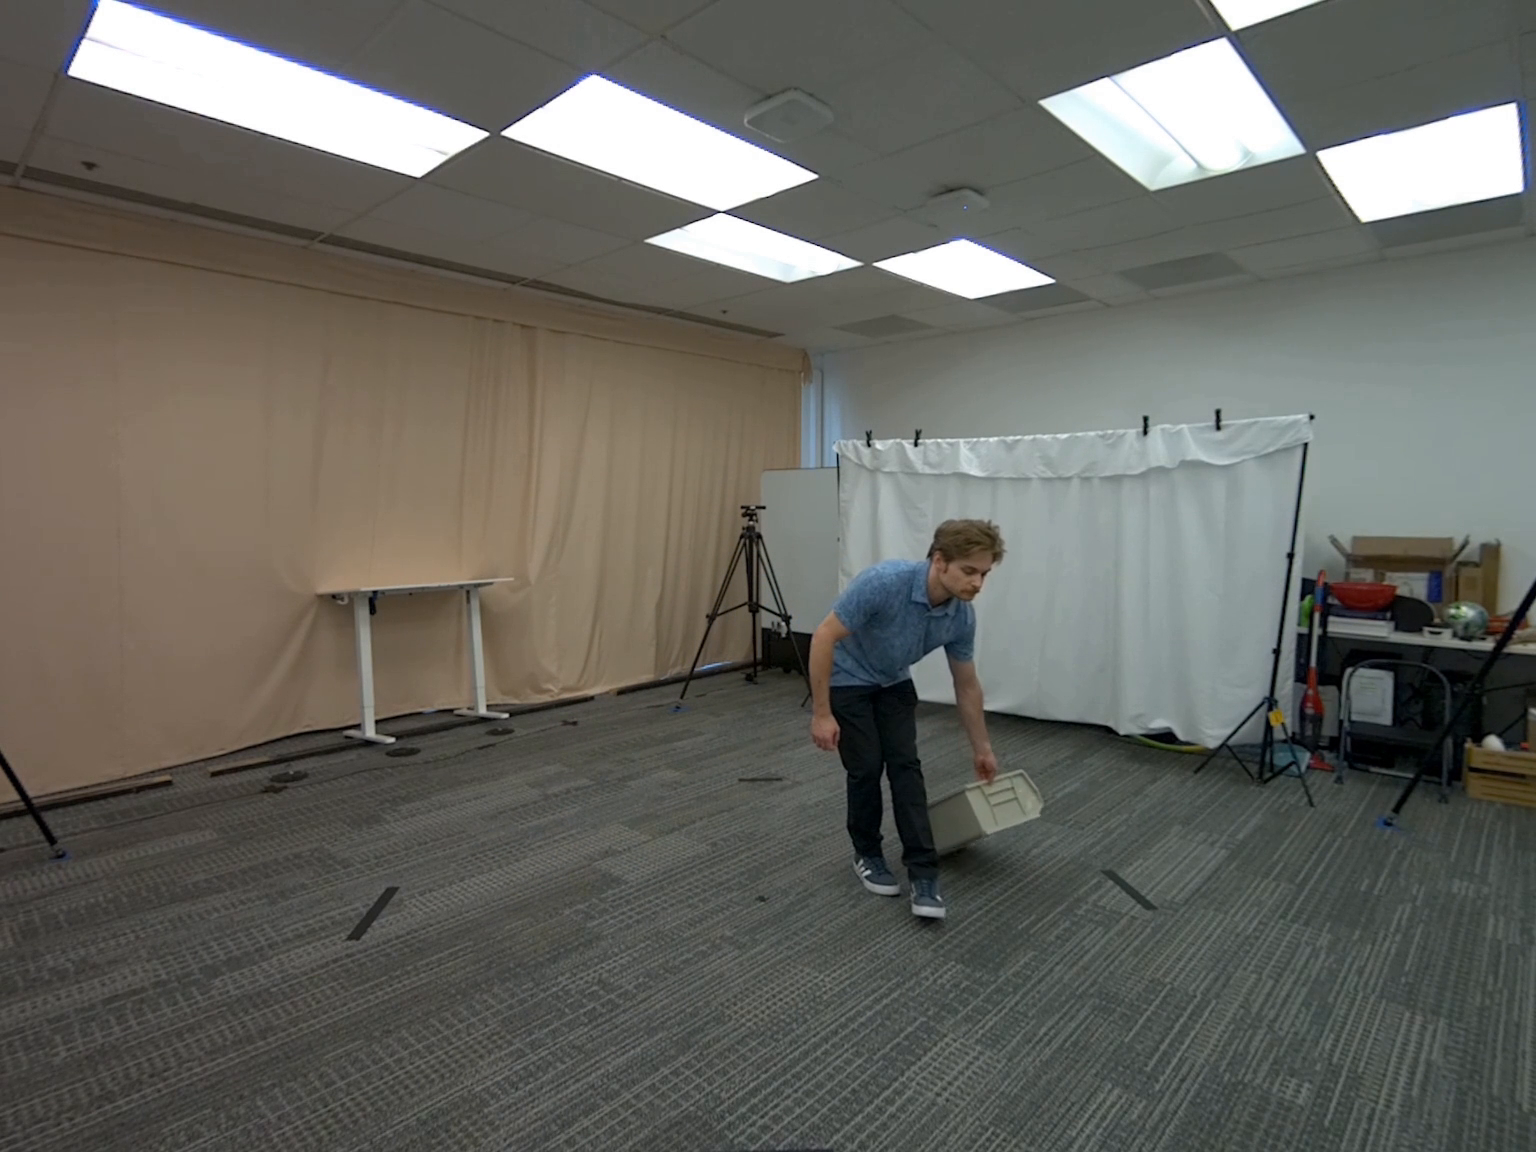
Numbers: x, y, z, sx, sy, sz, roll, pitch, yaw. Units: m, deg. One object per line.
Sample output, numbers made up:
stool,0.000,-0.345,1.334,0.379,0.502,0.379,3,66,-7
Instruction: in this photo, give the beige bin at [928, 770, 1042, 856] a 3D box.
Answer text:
beige bin,0.780,0.930,3.252,0.366,0.193,0.426,-3,-27,-37
